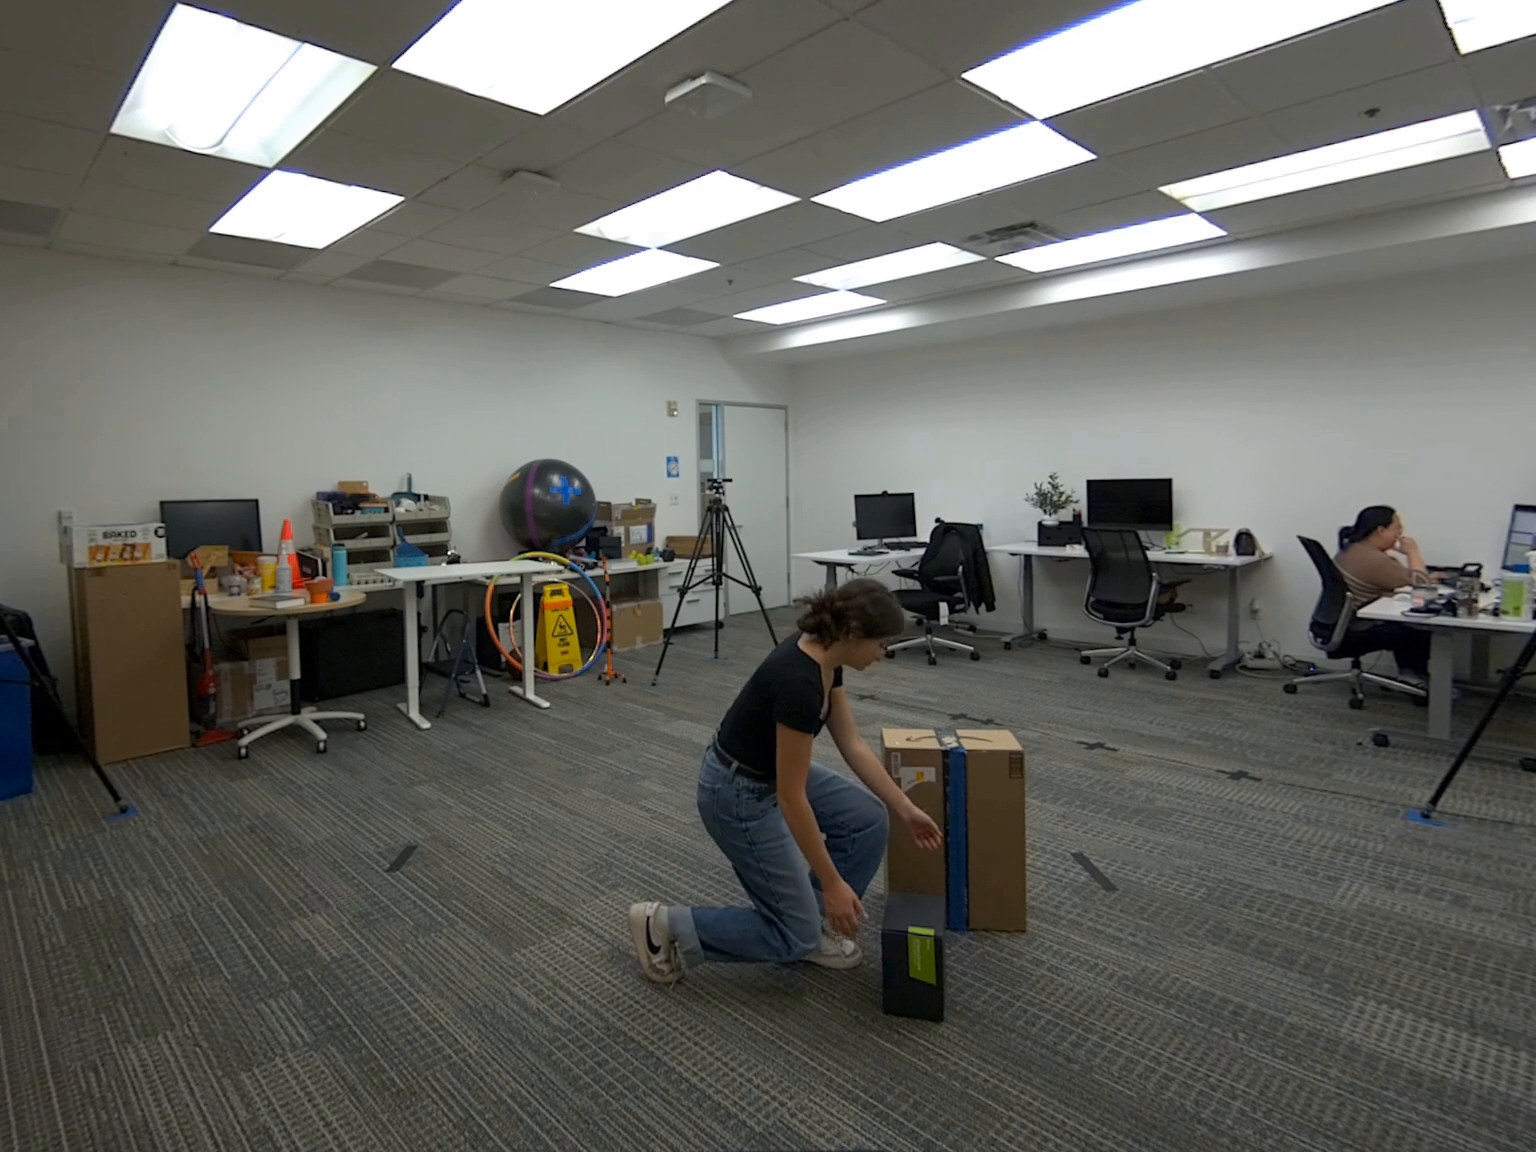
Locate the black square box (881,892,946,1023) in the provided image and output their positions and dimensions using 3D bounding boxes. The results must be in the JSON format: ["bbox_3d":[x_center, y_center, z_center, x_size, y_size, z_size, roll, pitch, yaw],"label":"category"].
[{"bbox_3d":[0.390,1.006,2.294,0.158,0.227,0.214,0,5,15],"label":"black square box"}]
